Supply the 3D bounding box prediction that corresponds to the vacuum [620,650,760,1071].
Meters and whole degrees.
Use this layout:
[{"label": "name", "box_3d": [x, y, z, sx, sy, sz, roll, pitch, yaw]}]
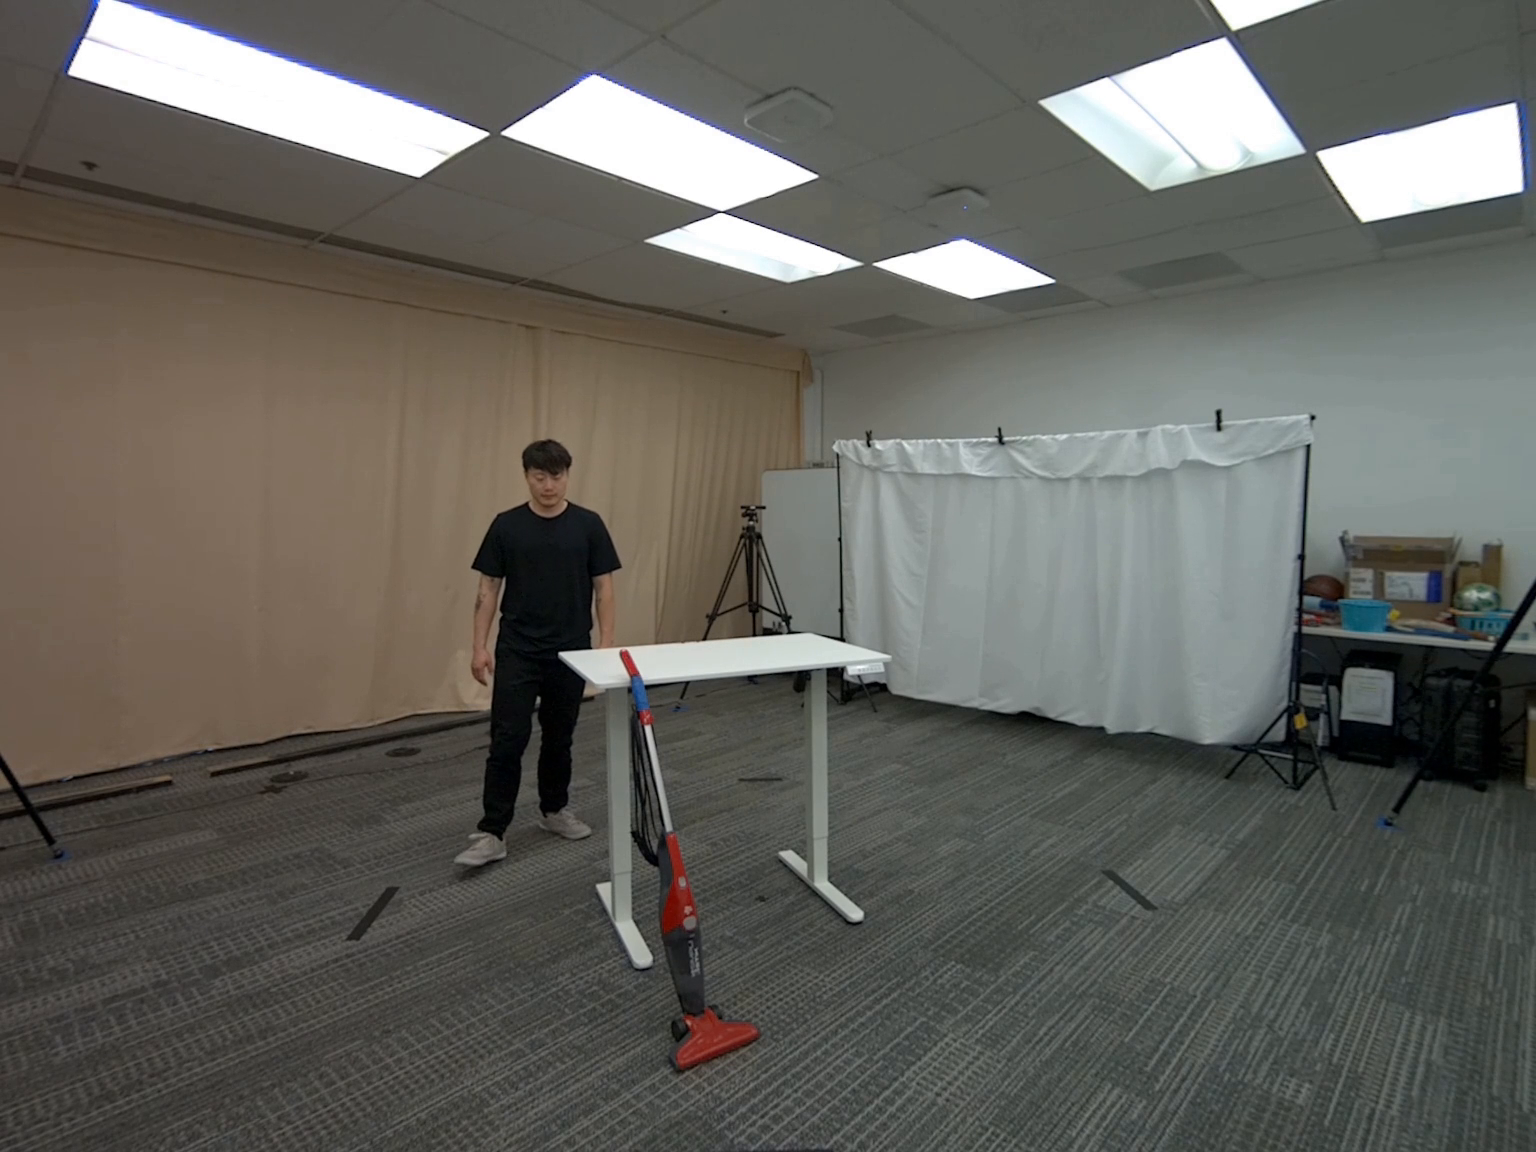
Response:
[{"label": "vacuum", "box_3d": [-0.289, 0.721, 2.344, 0.245, 1.065, 0.146, -1, -22, -40]}]
